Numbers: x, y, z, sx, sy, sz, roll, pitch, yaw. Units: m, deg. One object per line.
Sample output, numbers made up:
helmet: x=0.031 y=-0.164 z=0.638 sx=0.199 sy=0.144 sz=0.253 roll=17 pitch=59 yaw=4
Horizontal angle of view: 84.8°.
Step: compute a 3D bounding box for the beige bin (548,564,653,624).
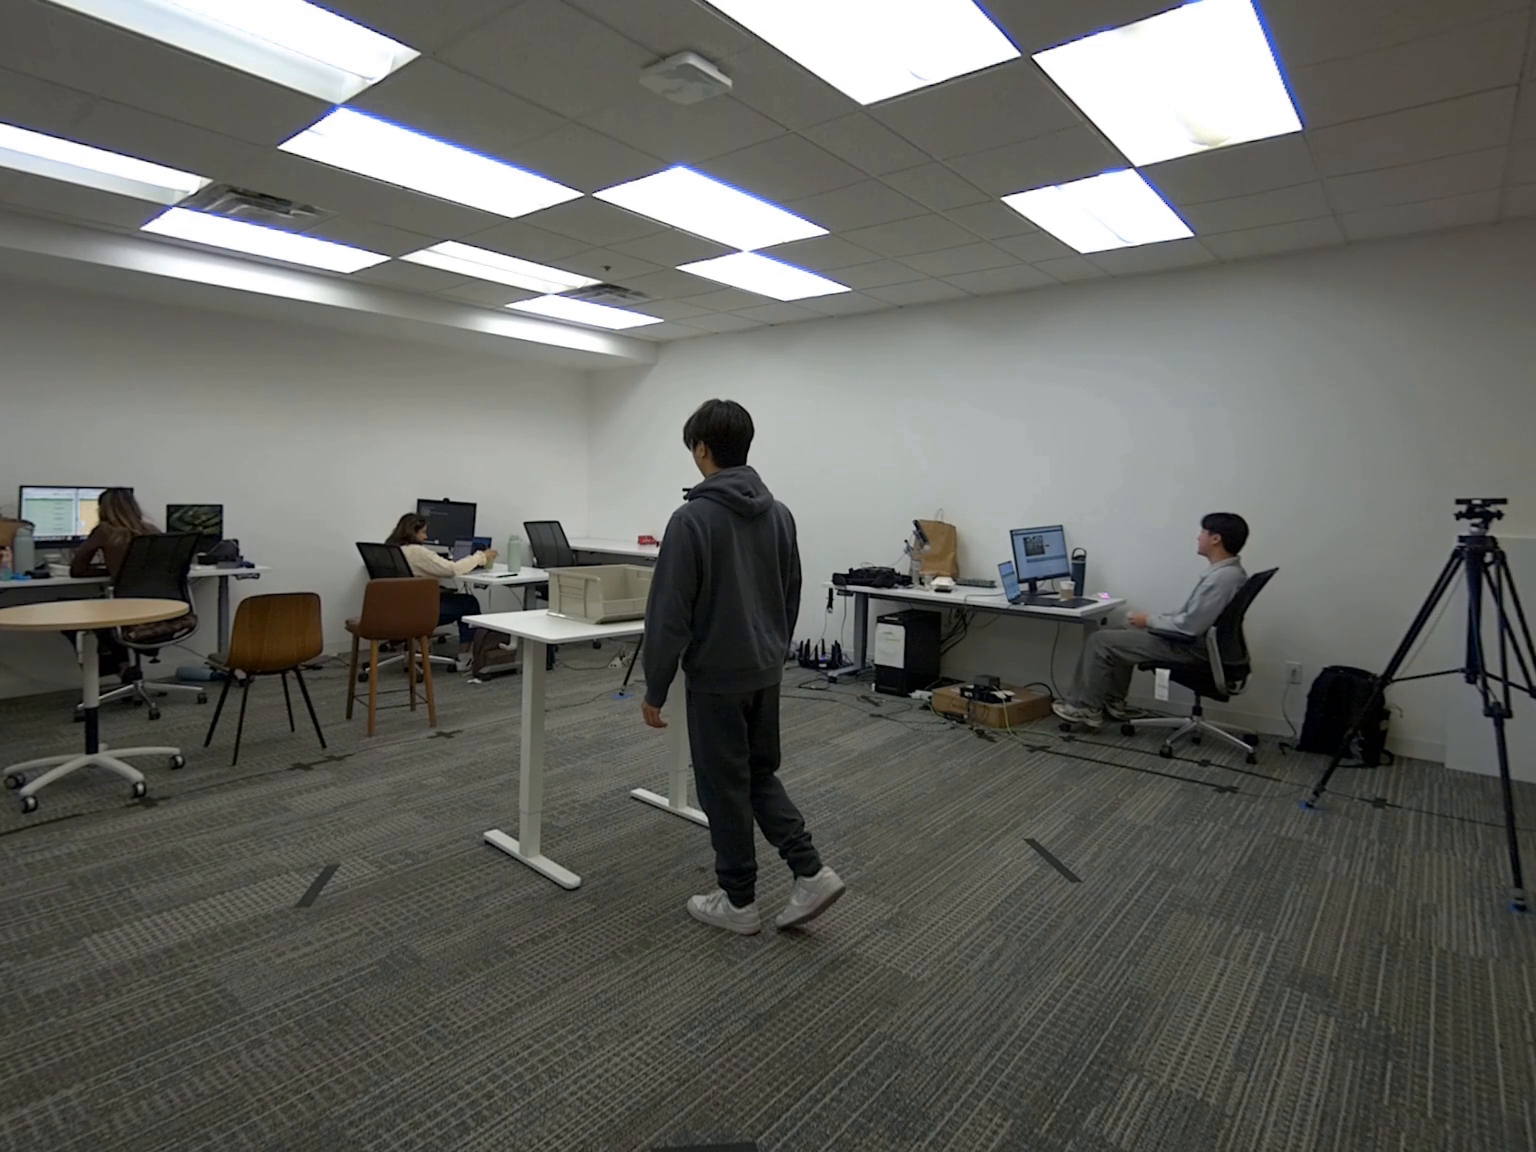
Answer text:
beige bin: x=-0.615 y=0.068 z=3.360 sx=0.390 sy=0.188 sz=0.409 roll=5 pitch=6 yaw=43
